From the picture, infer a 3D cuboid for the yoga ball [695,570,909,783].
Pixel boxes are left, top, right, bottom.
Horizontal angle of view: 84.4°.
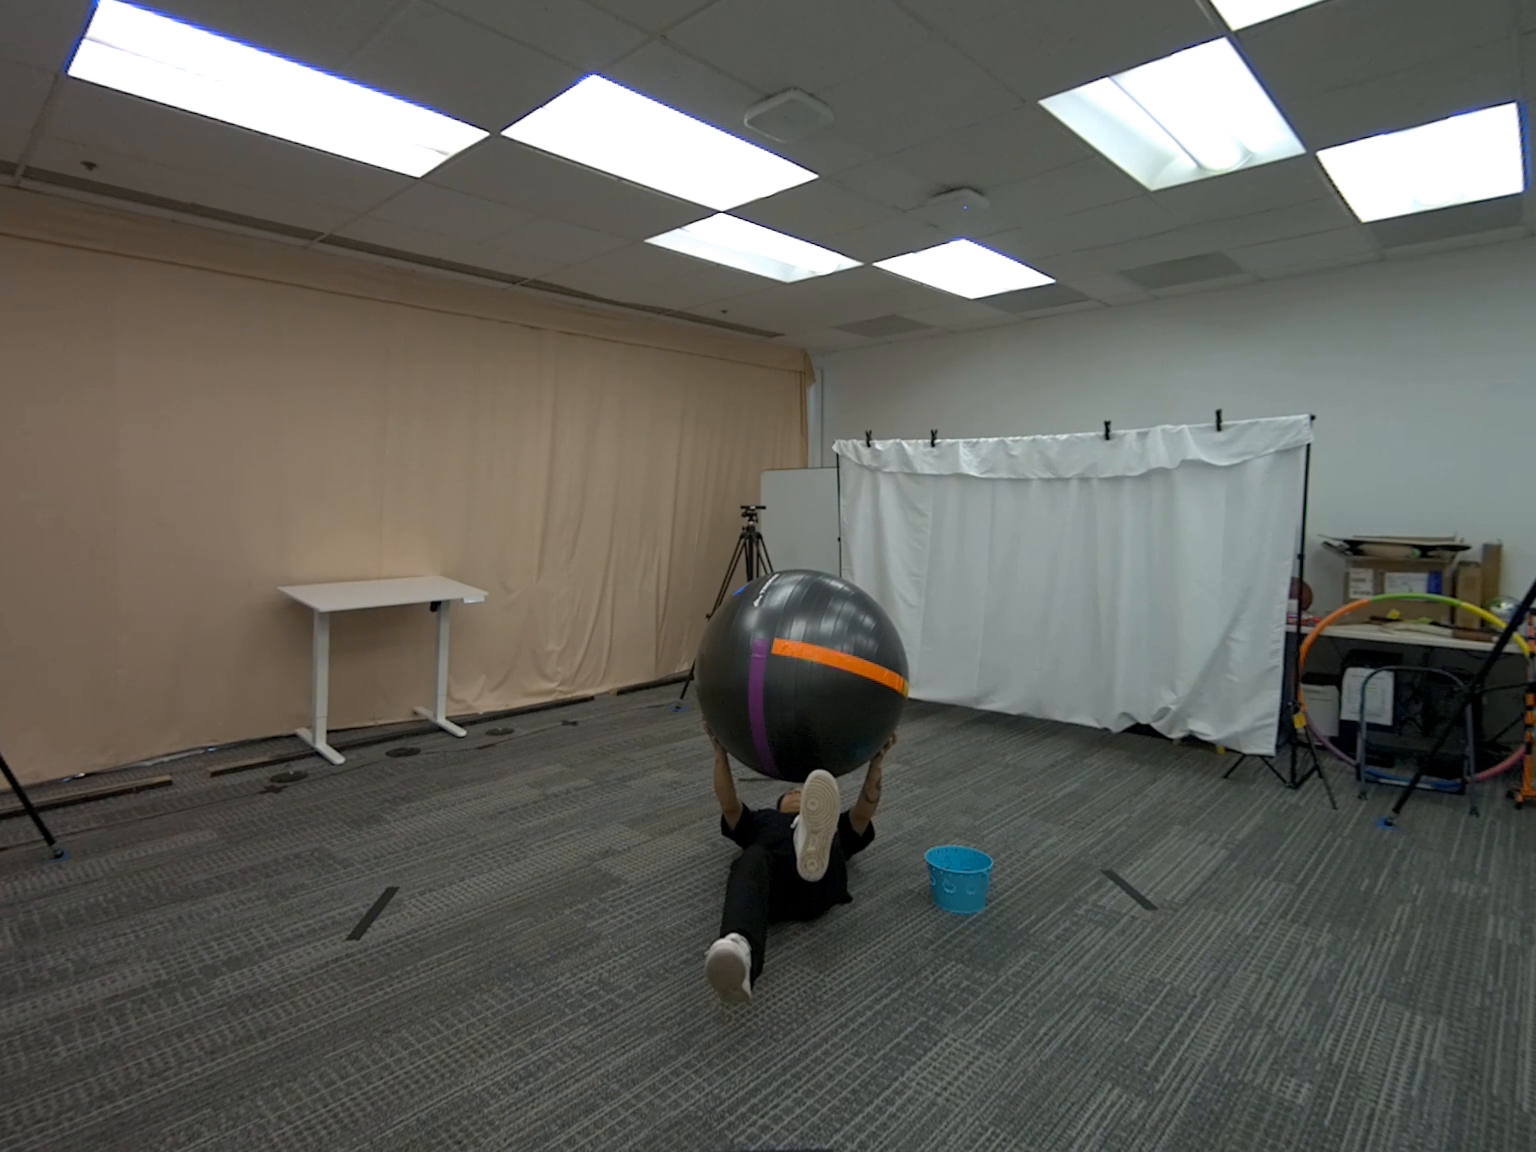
[{"bbox_3d":[0.118,0.362,3.043,0.757,0.756,0.760,0,4,-2],"label":"yoga ball"}]
